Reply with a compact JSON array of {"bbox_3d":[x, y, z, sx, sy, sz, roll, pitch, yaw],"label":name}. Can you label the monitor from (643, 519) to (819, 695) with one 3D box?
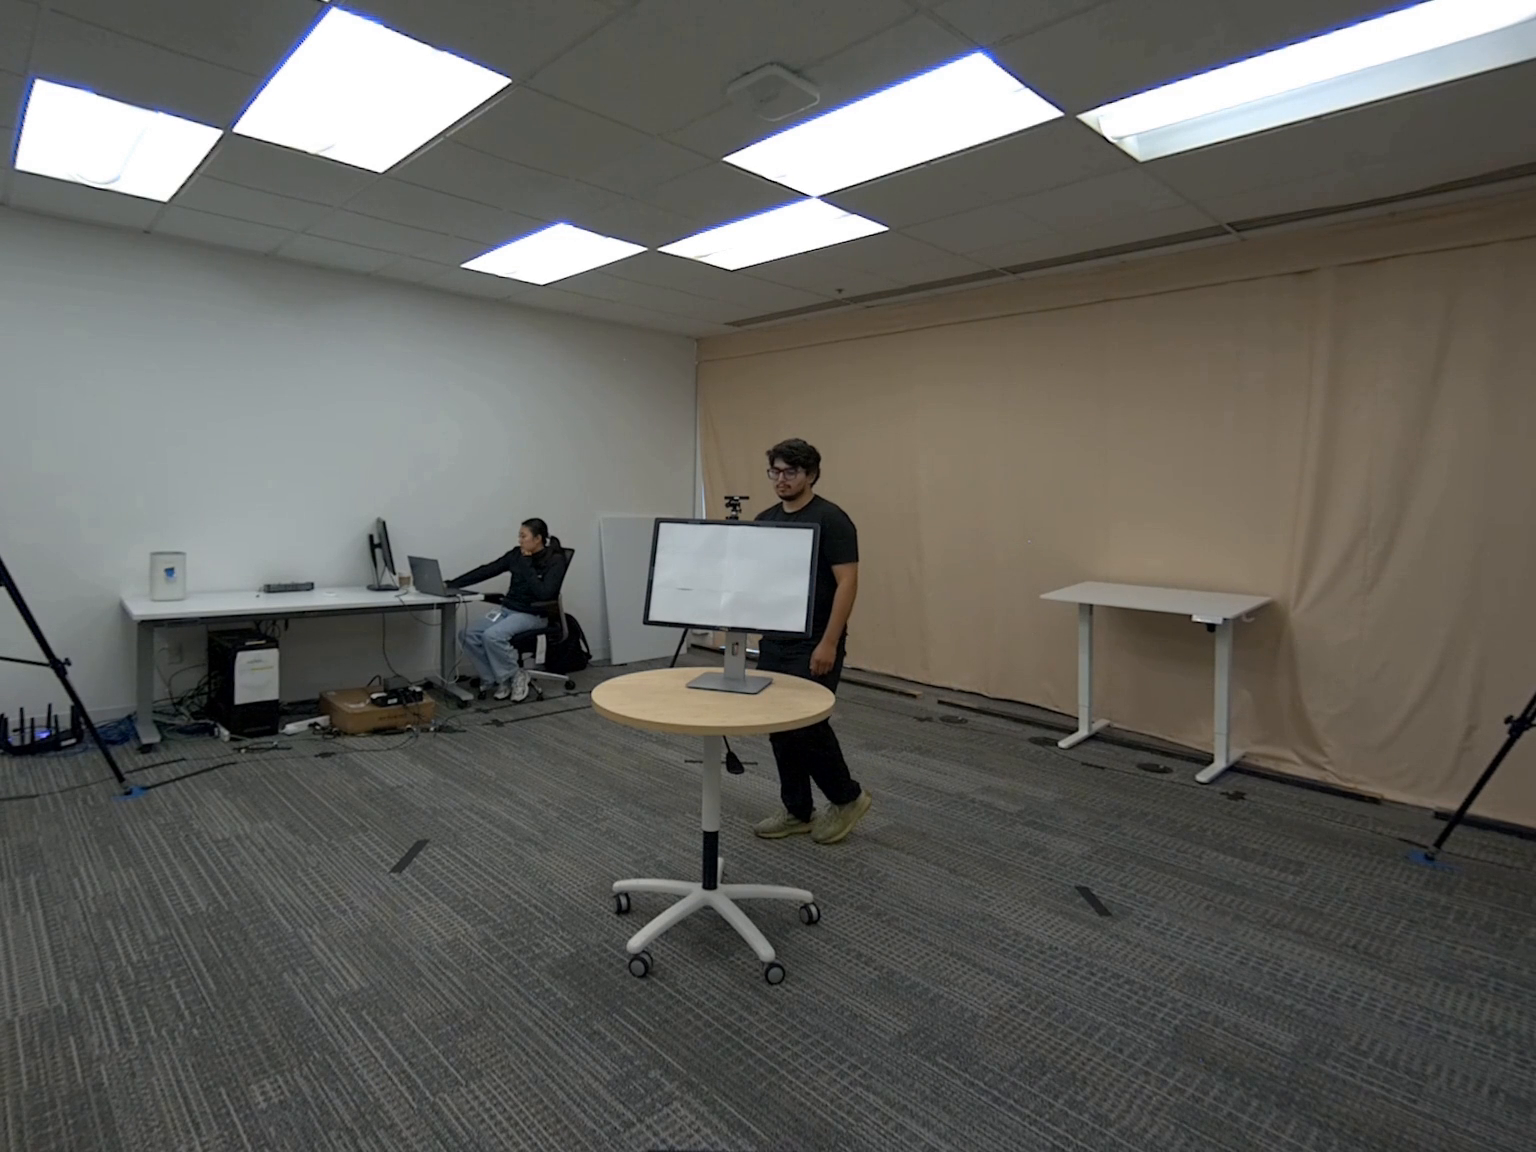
[{"bbox_3d":[-0.112,0.094,2.784,0.573,0.555,0.207,2,-2,17],"label":"monitor"}]
